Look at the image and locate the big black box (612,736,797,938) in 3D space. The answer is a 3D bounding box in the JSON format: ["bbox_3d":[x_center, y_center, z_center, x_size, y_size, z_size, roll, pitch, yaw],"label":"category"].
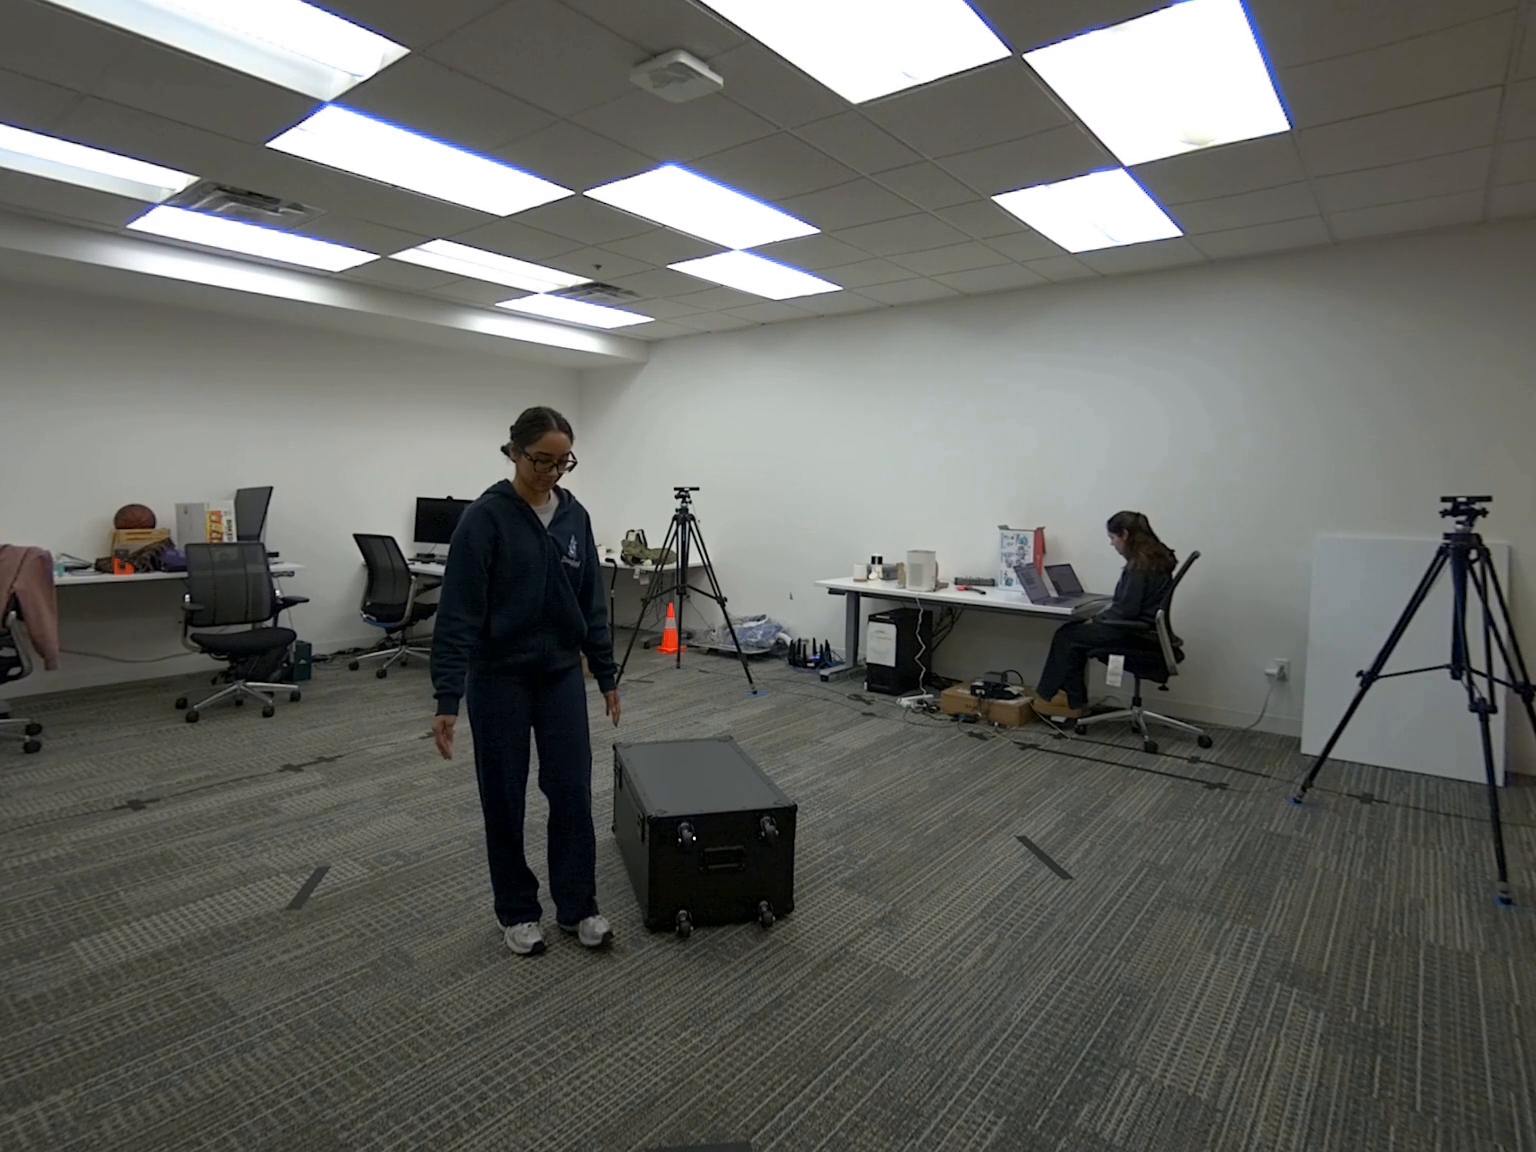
[{"bbox_3d":[-0.262,0.883,3.021,0.512,0.395,0.880,-1,5,-18],"label":"big black box"}]
